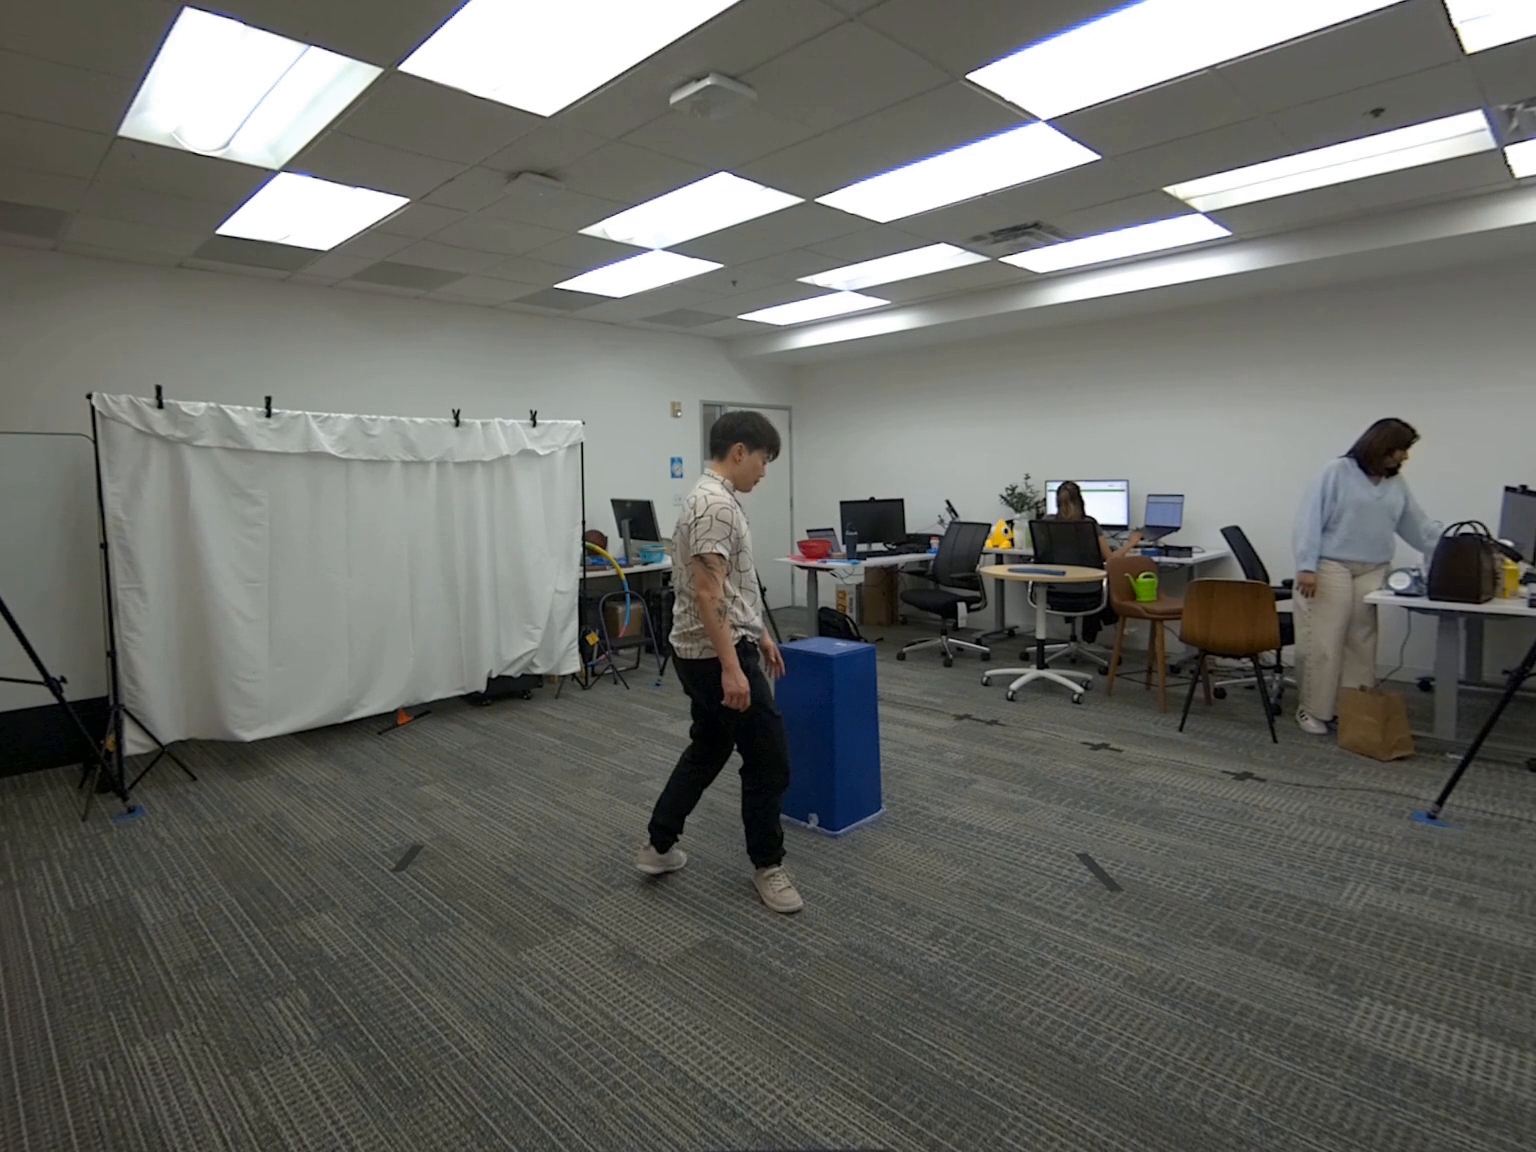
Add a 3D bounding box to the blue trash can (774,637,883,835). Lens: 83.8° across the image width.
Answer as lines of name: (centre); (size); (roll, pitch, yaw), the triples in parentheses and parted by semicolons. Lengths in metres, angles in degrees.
blue trash can: (0.253, 0.640, 3.551); (0.390, 0.711, 0.364); (4, 5, 43)
